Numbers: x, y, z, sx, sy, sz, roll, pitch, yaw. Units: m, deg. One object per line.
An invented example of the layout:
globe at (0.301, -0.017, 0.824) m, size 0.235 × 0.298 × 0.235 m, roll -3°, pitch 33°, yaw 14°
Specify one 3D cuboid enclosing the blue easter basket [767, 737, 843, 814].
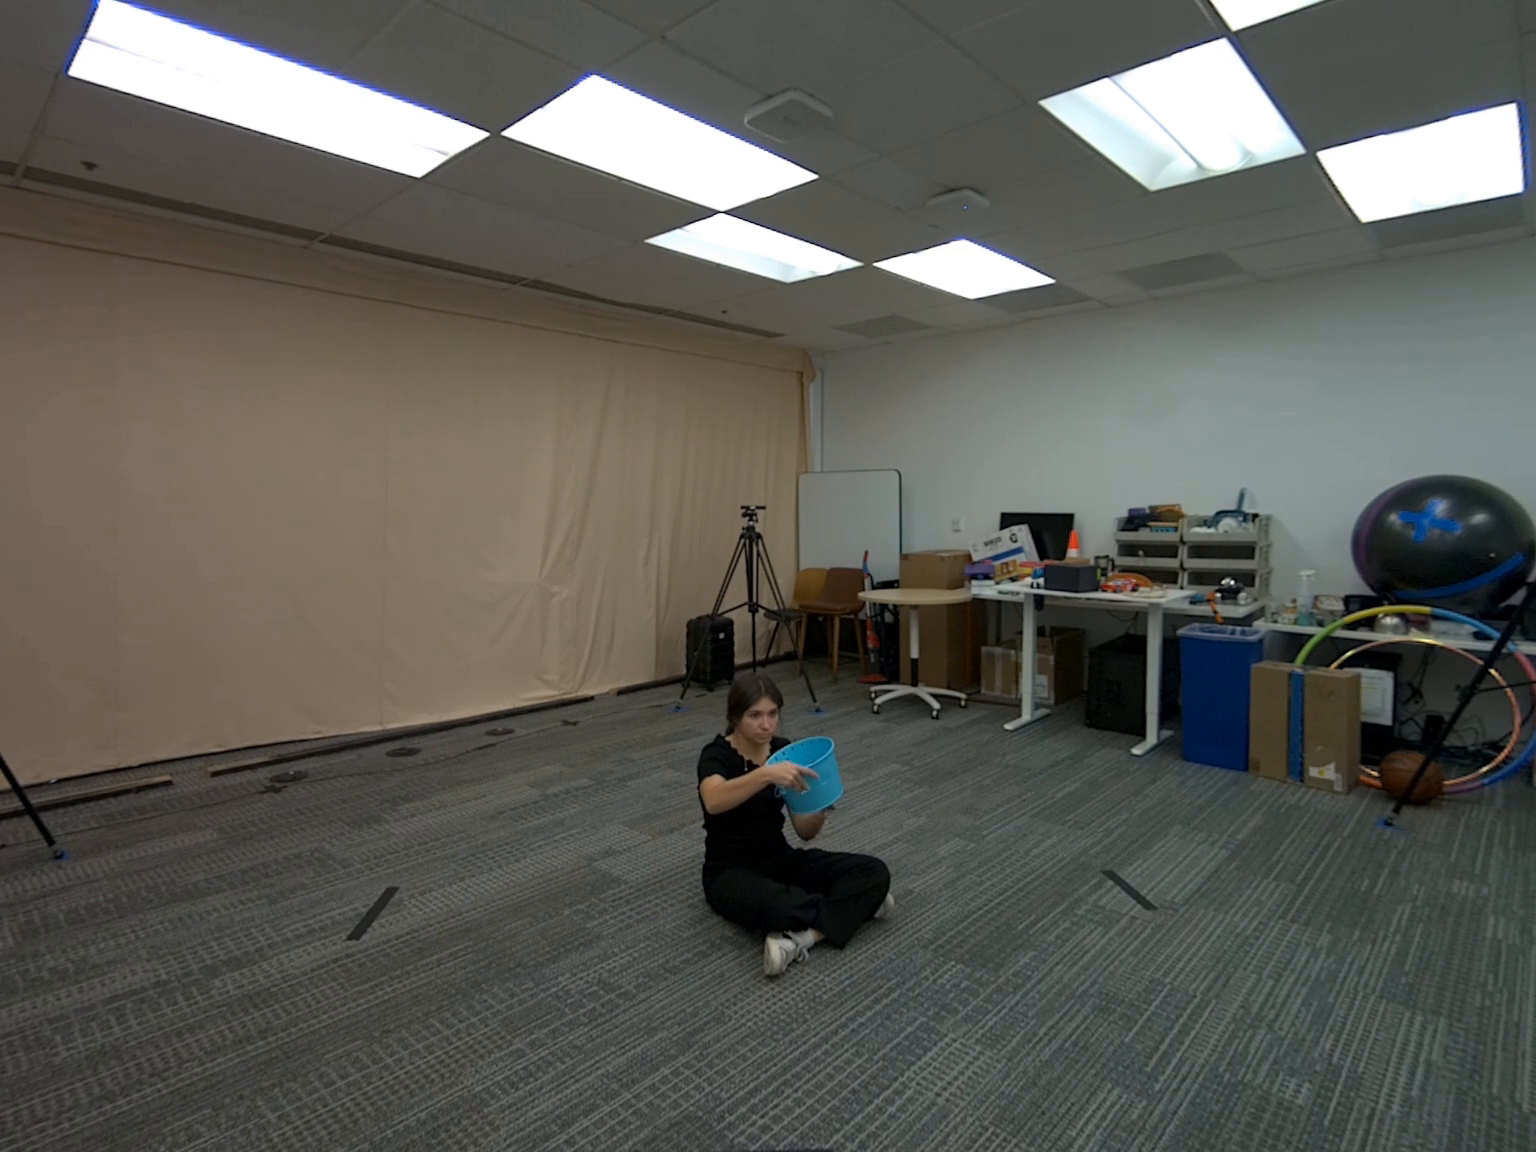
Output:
blue easter basket at (0.109, 0.641, 2.647) m, size 0.244 × 0.155 × 0.245 m, roll -19°, pitch 7°, yaw 0°
